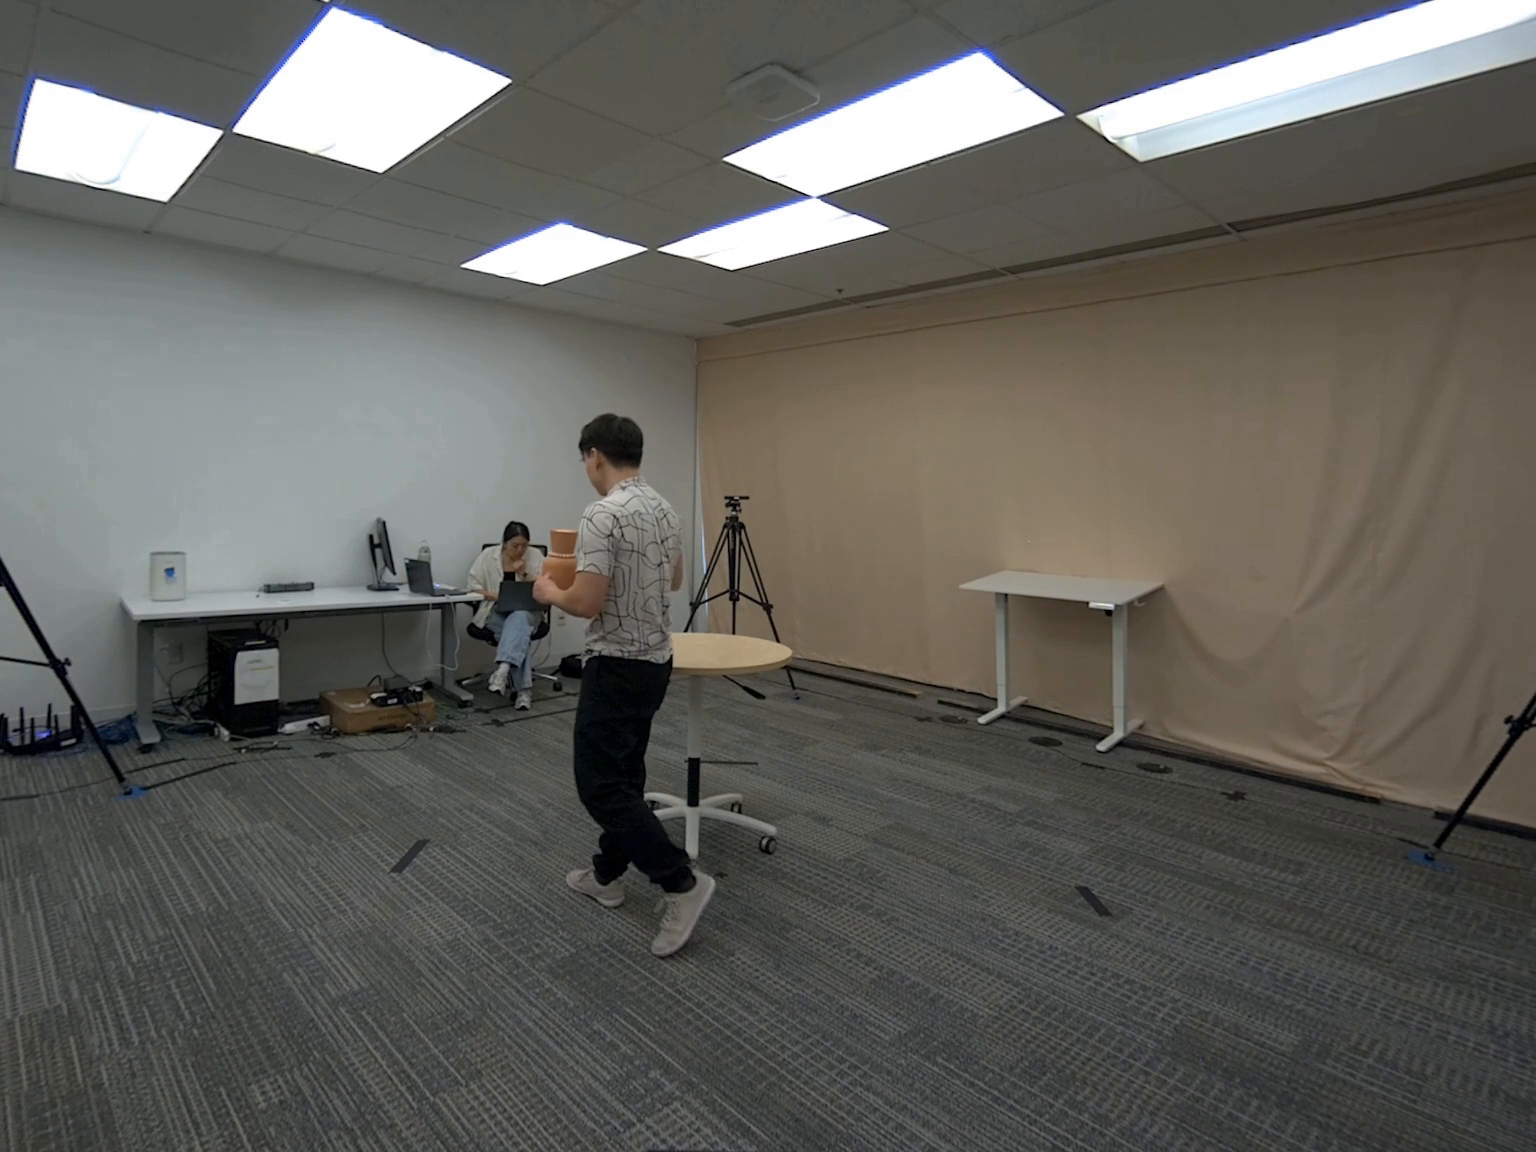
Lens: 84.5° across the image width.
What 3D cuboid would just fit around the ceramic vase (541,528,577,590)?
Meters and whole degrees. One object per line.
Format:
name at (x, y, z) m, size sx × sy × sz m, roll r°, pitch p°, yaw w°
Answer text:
ceramic vase at (-0.701, -0.043, 2.881) m, size 0.133 × 0.219 × 0.161 m, roll 4°, pitch 5°, yaw -13°
